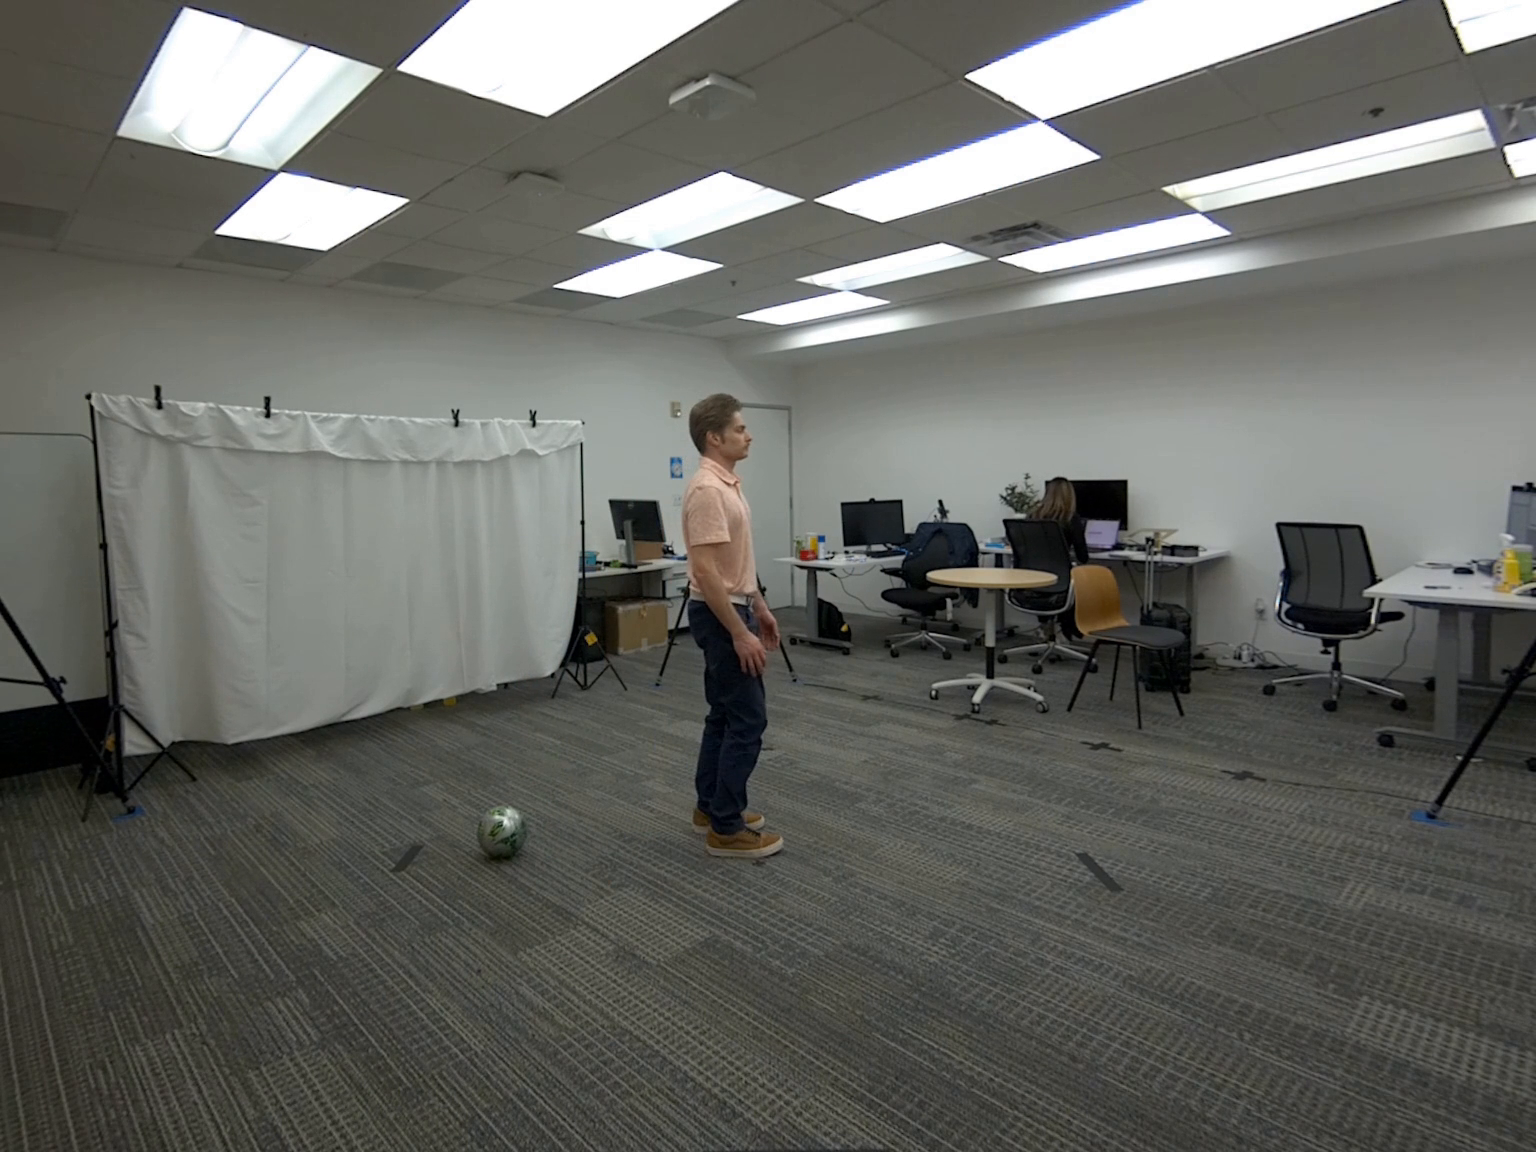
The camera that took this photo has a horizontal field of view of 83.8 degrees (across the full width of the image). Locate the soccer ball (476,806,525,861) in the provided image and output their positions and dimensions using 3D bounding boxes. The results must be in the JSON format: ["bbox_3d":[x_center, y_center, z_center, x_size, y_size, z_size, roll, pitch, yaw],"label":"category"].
[{"bbox_3d":[-0.994,0.965,3.223,0.187,0.187,0.188,-1,5,-2],"label":"soccer ball"}]
